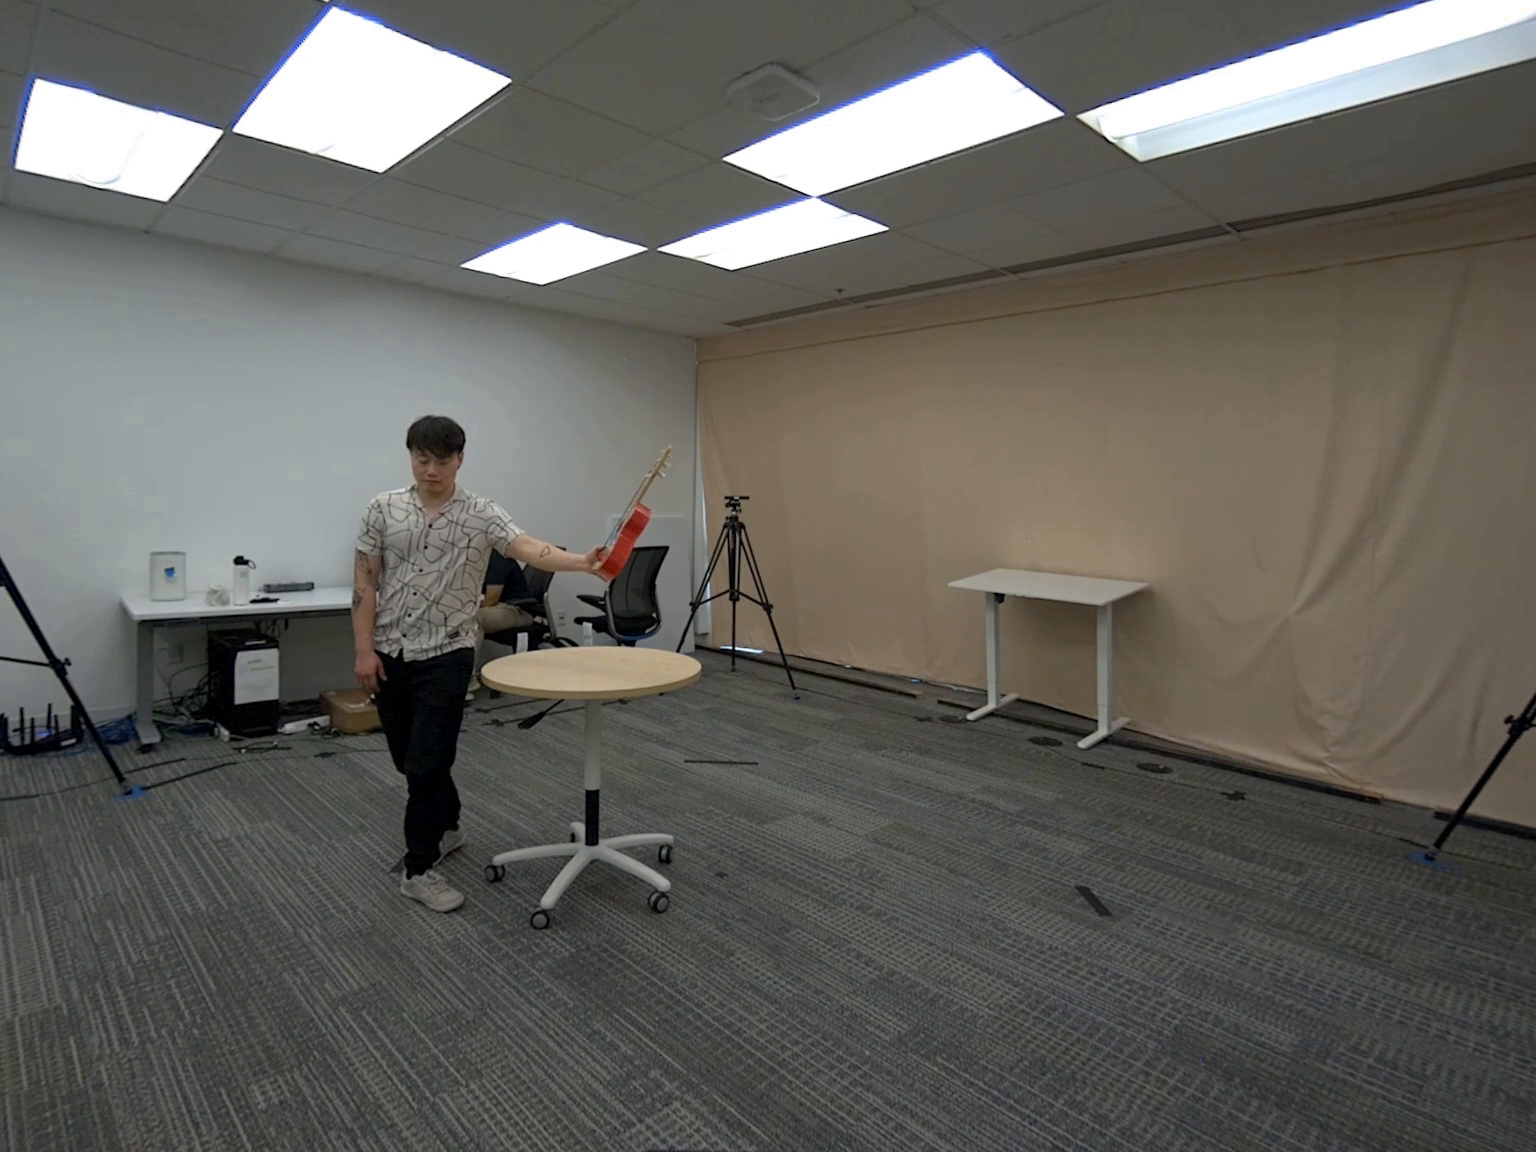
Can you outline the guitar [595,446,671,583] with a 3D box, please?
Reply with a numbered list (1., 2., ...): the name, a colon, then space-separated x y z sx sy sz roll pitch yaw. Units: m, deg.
1. guitar: -0.428 -0.207 2.741 0.069 0.498 0.196 33 -4 -20
